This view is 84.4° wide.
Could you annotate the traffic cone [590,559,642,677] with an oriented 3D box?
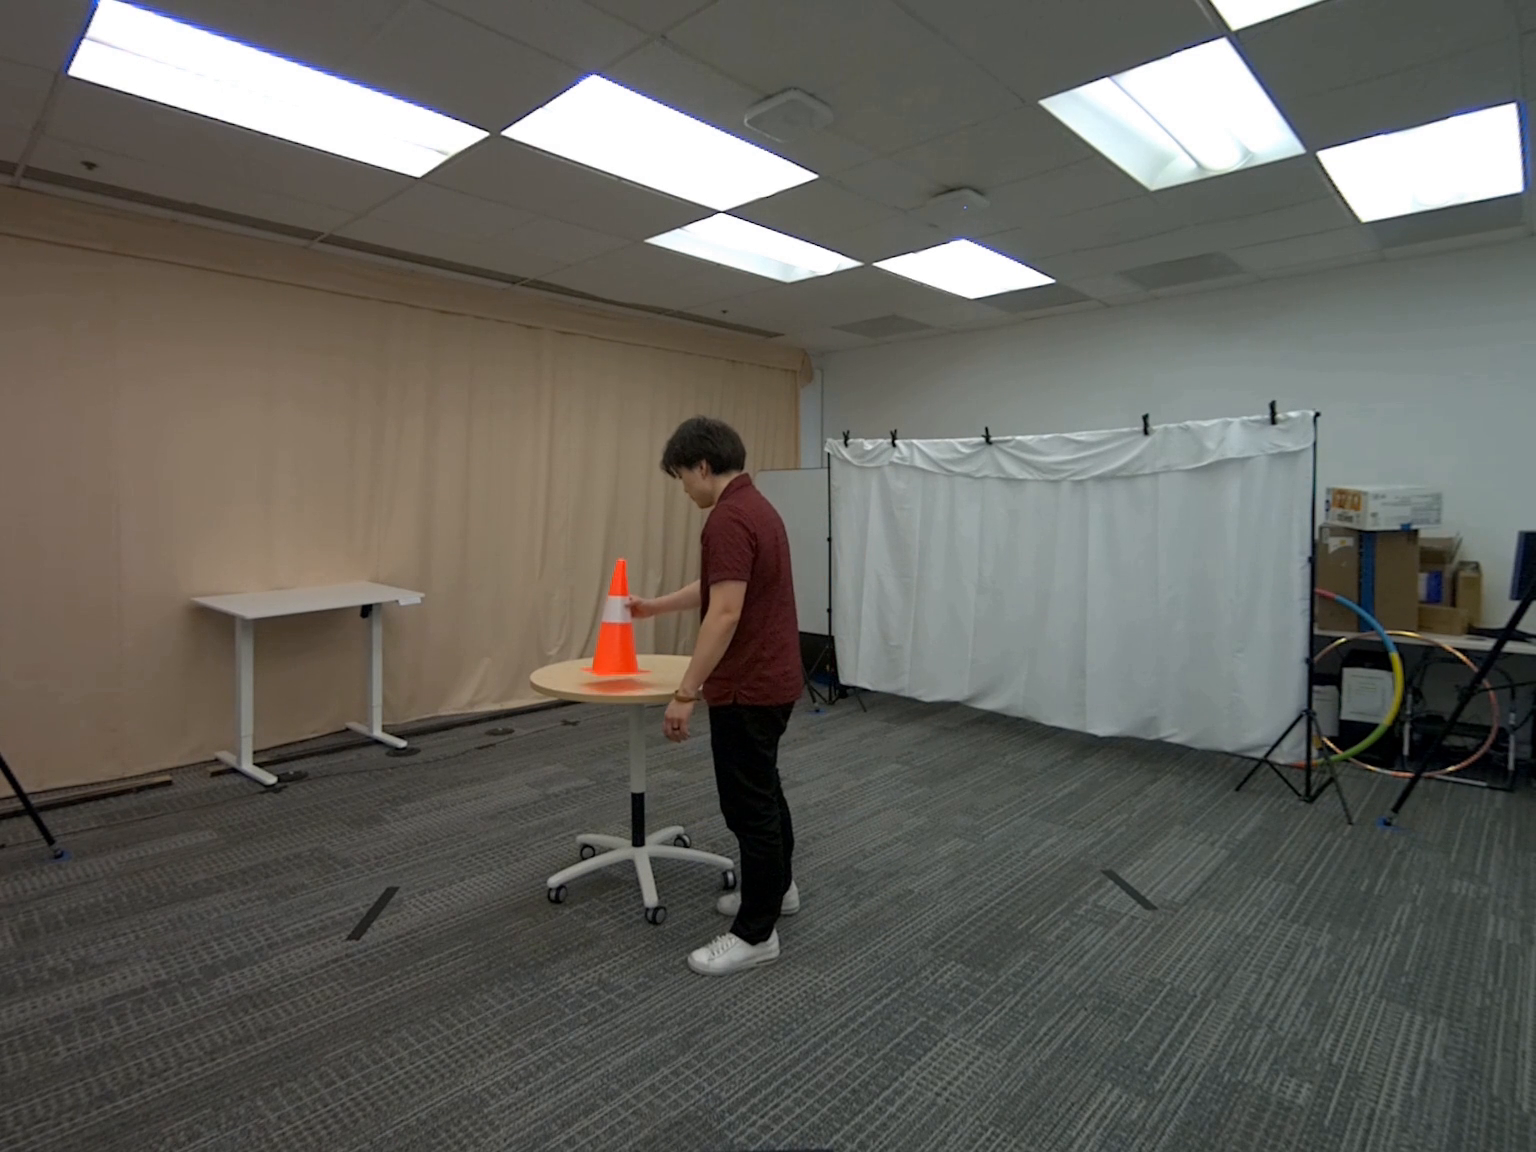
[{"bbox_3d":[-0.510,0.125,2.872,0.210,0.384,0.198,3,-1,39],"label":"traffic cone"}]
